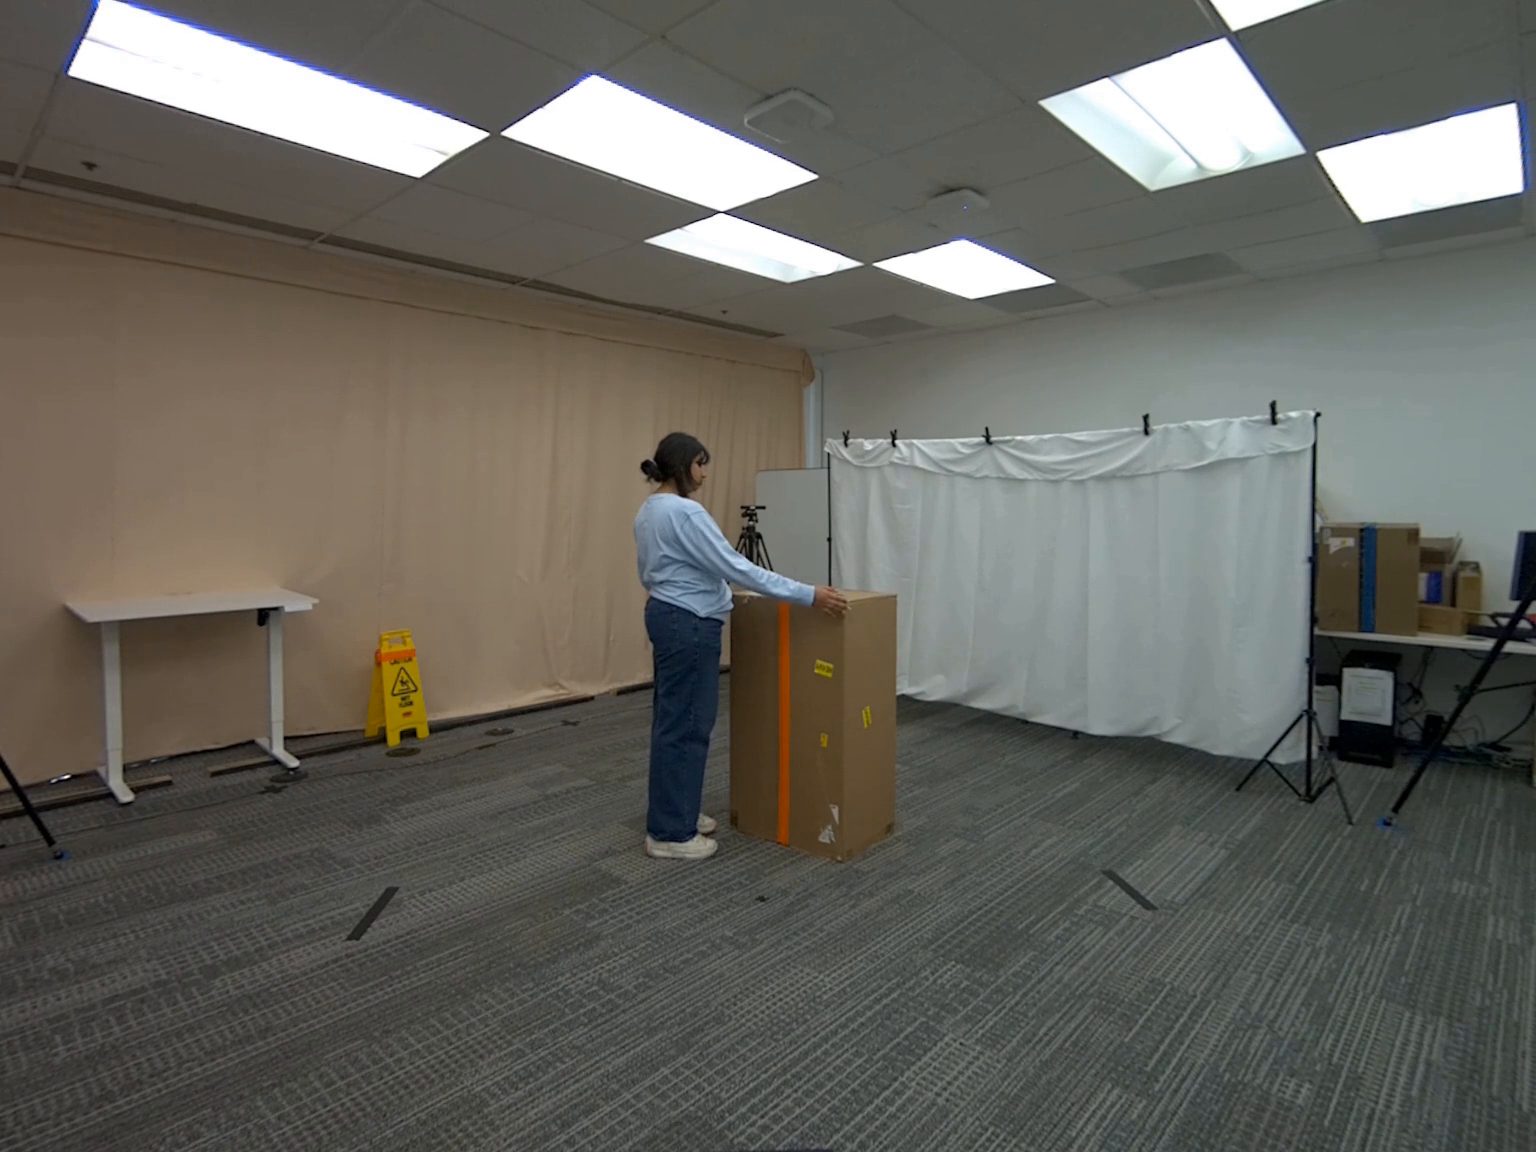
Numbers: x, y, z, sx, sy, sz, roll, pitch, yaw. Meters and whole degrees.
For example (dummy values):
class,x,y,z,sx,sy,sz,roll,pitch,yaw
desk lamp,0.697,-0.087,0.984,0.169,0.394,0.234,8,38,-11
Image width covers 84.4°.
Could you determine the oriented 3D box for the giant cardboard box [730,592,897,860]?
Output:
class,x,y,z,sx,sy,sz,roll,pitch,yaw
giant cardboard box,0.192,0.582,3.592,0.603,1.025,0.433,2,4,39
